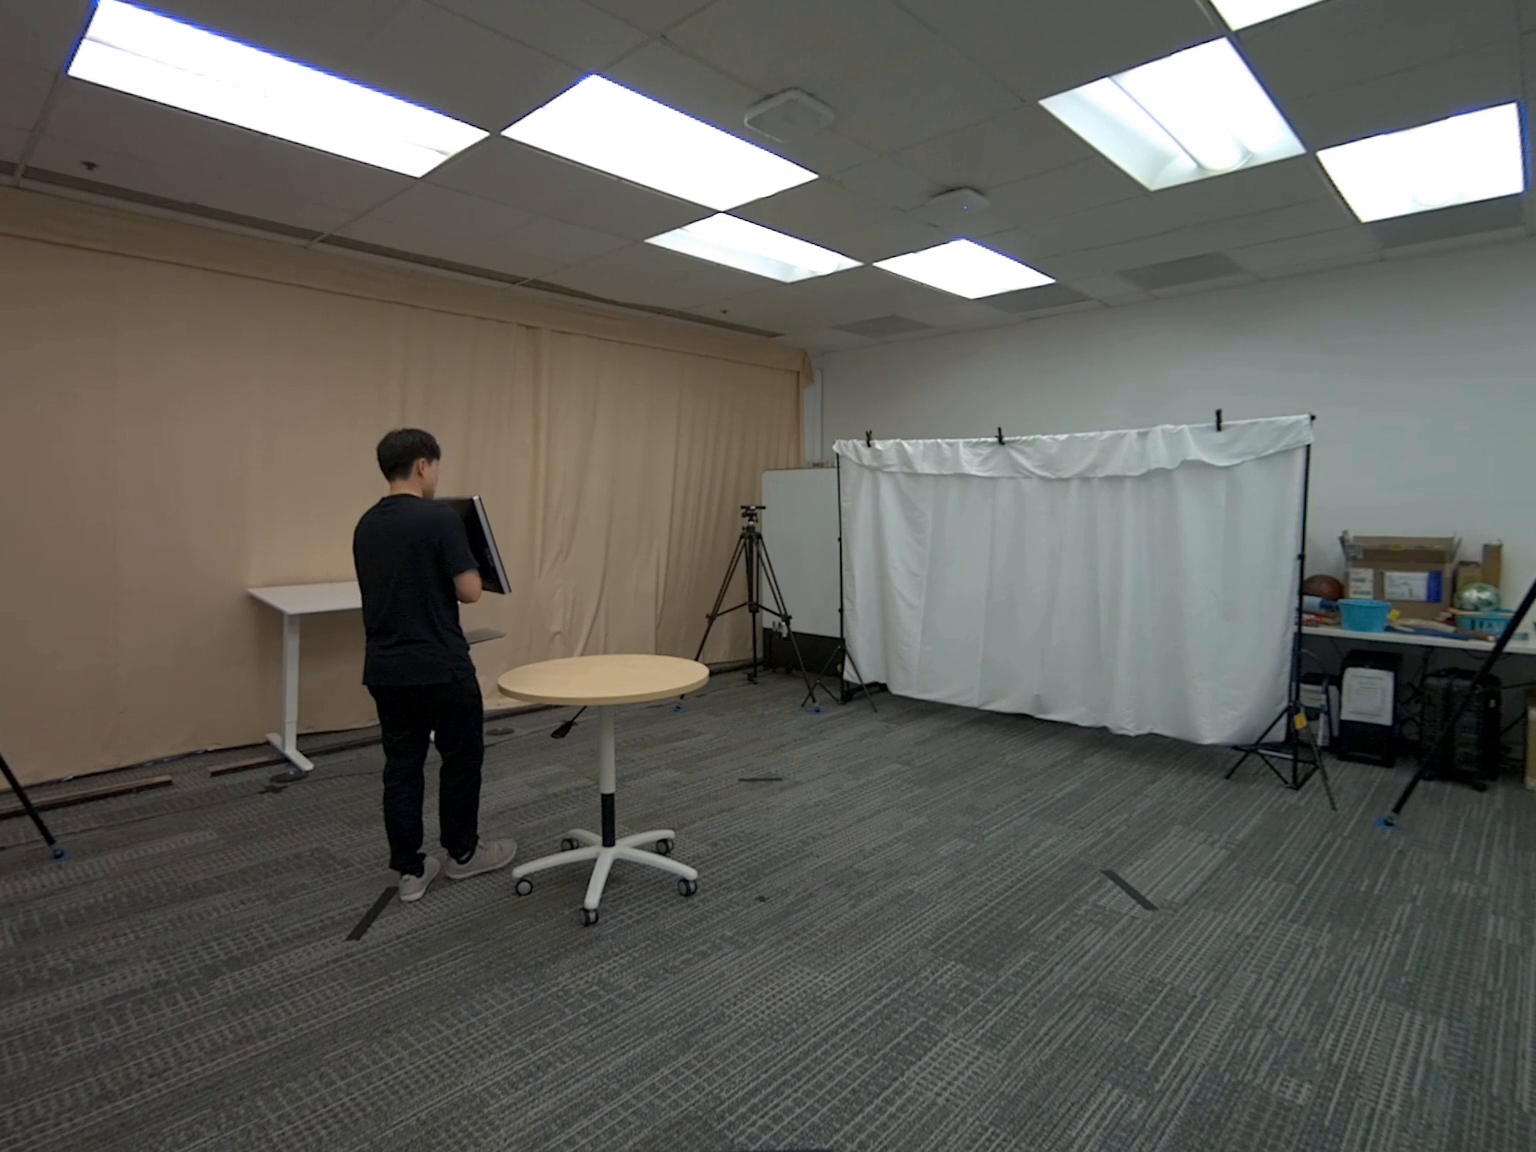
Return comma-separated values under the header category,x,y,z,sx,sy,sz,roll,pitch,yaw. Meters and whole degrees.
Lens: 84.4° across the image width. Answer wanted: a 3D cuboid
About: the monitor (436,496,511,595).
category,x,y,z,sx,sy,sz,roll,pitch,yaw
monitor,-1.157,-0.029,3.157,0.182,0.520,0.557,-10,9,-40
